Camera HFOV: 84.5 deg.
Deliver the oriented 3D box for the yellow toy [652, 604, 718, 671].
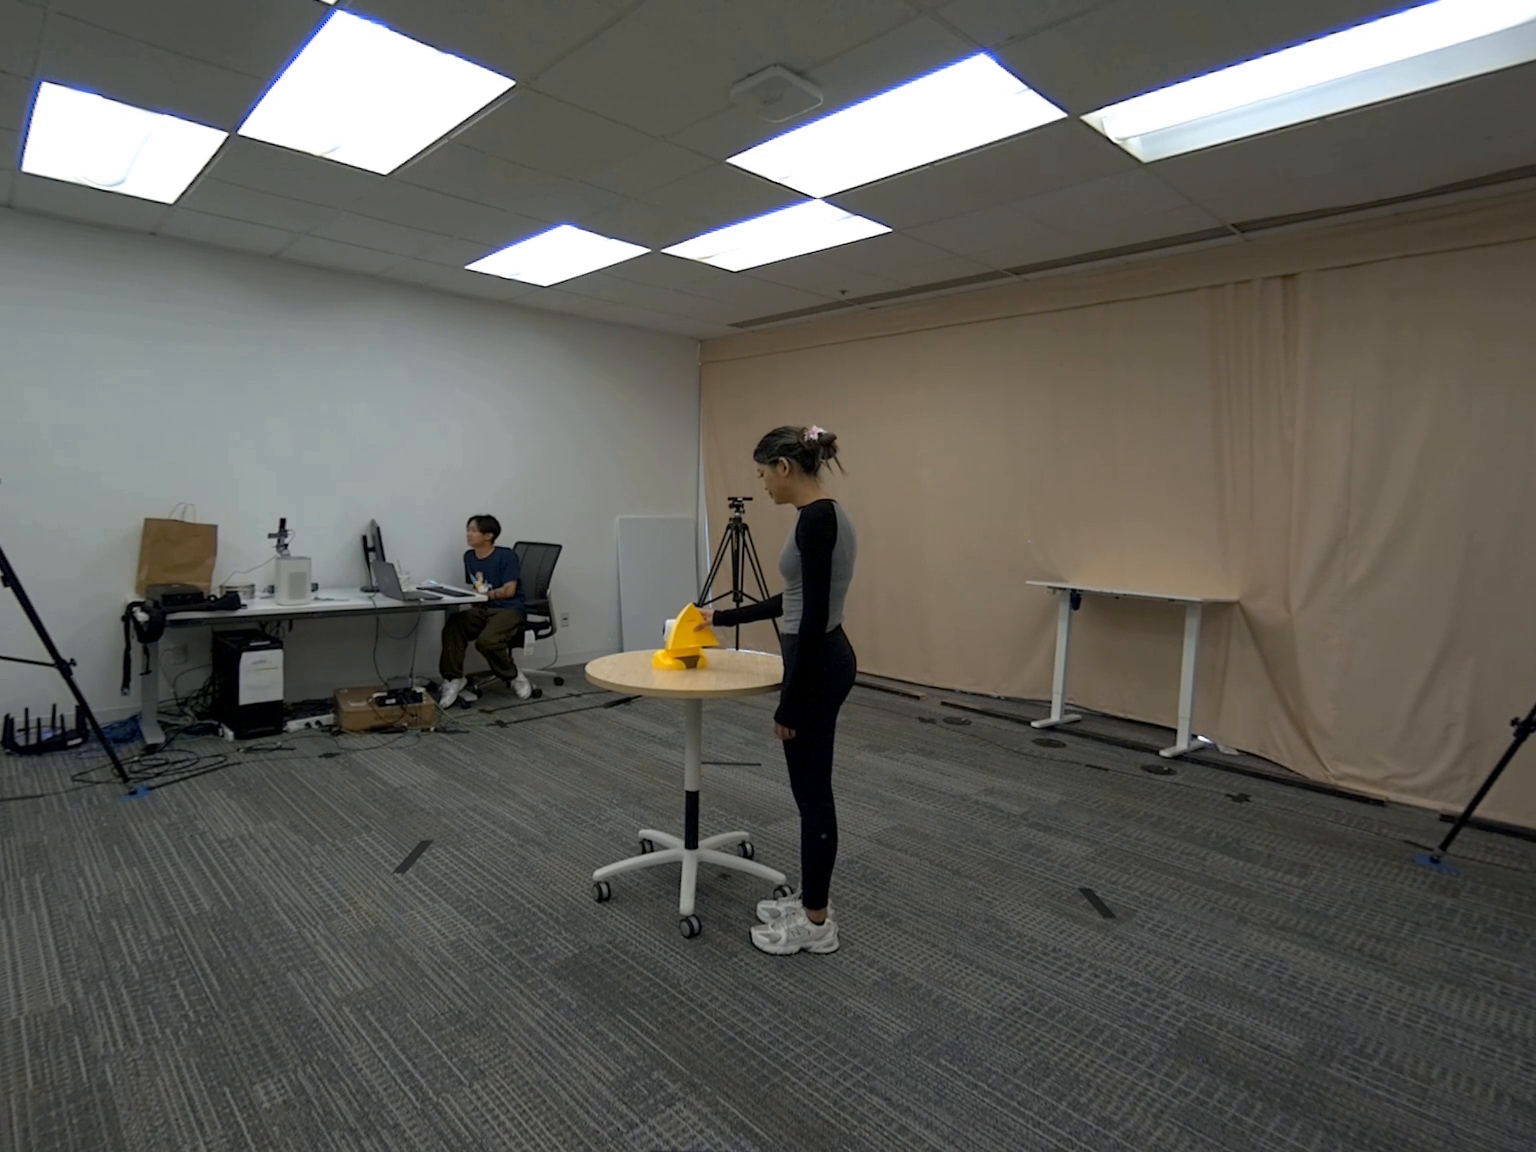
[{"bbox_3d":[-0.318,0.206,3.003,0.200,0.230,0.198,-2,4,-37],"label":"yellow toy"}]
